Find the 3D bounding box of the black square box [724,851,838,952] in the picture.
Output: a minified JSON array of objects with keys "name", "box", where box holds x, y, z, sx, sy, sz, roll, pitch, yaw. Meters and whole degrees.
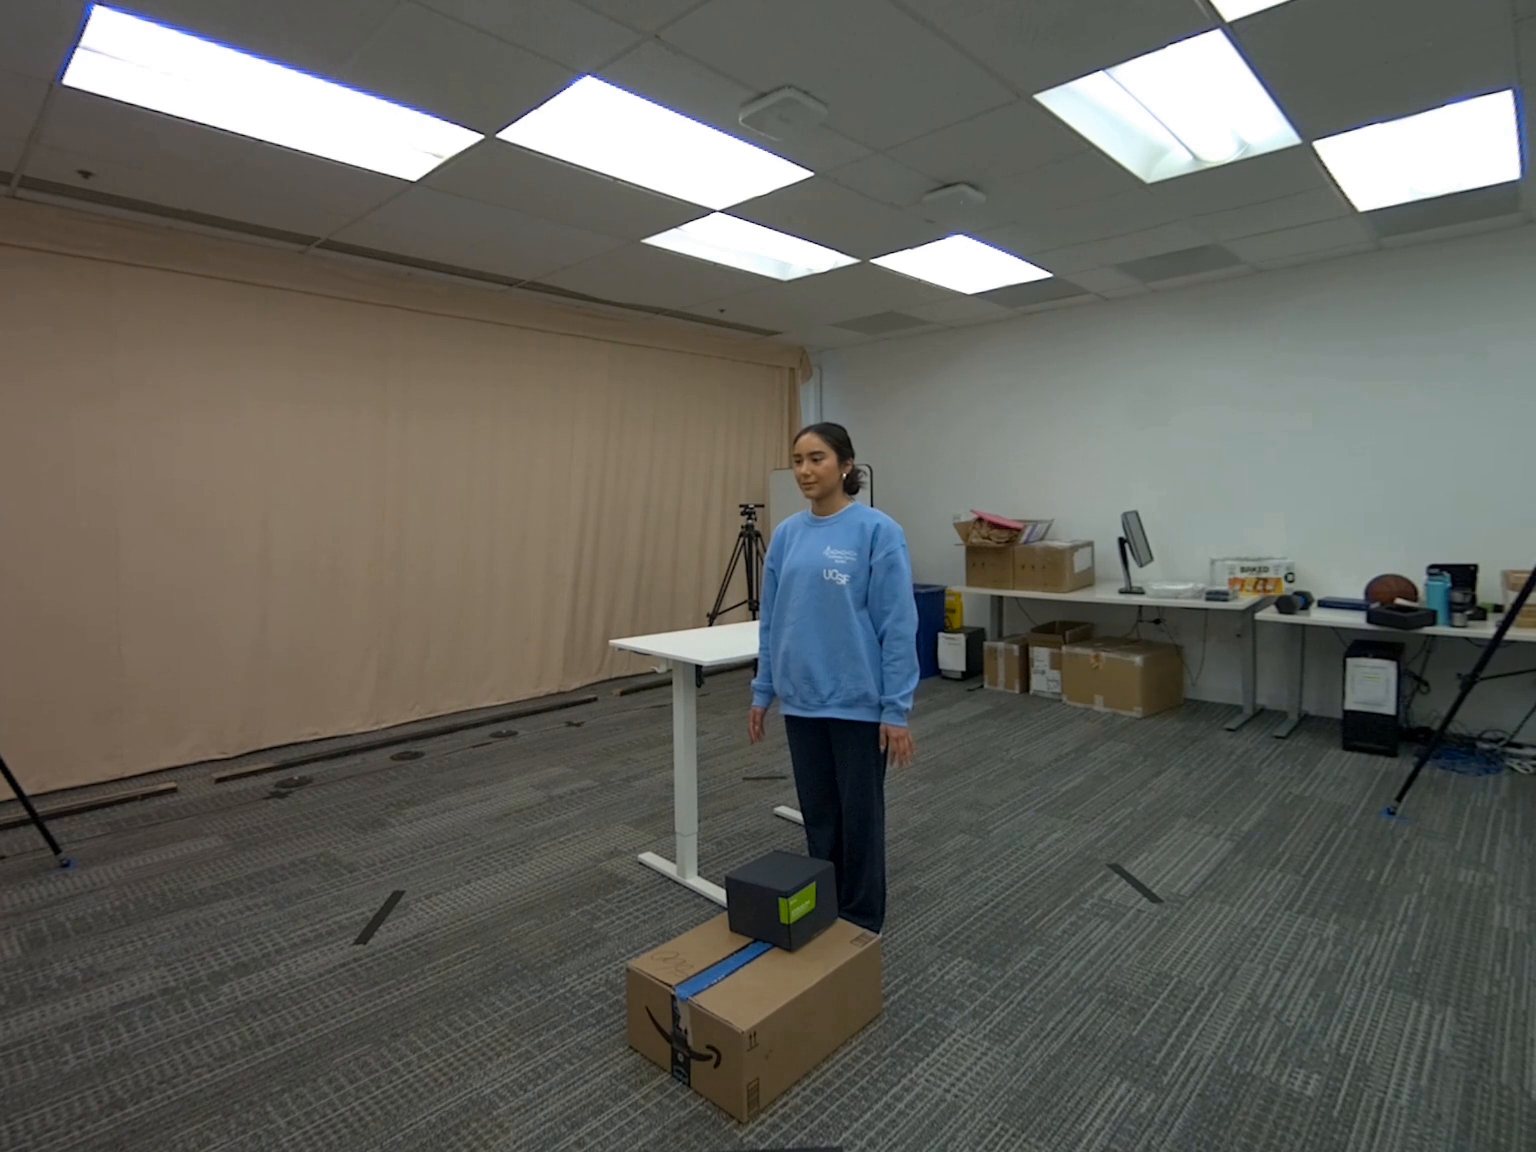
[{"name":"black square box","box":[0.042,0.886,2.343,0.224,0.156,0.221,-2,2,39]}]
